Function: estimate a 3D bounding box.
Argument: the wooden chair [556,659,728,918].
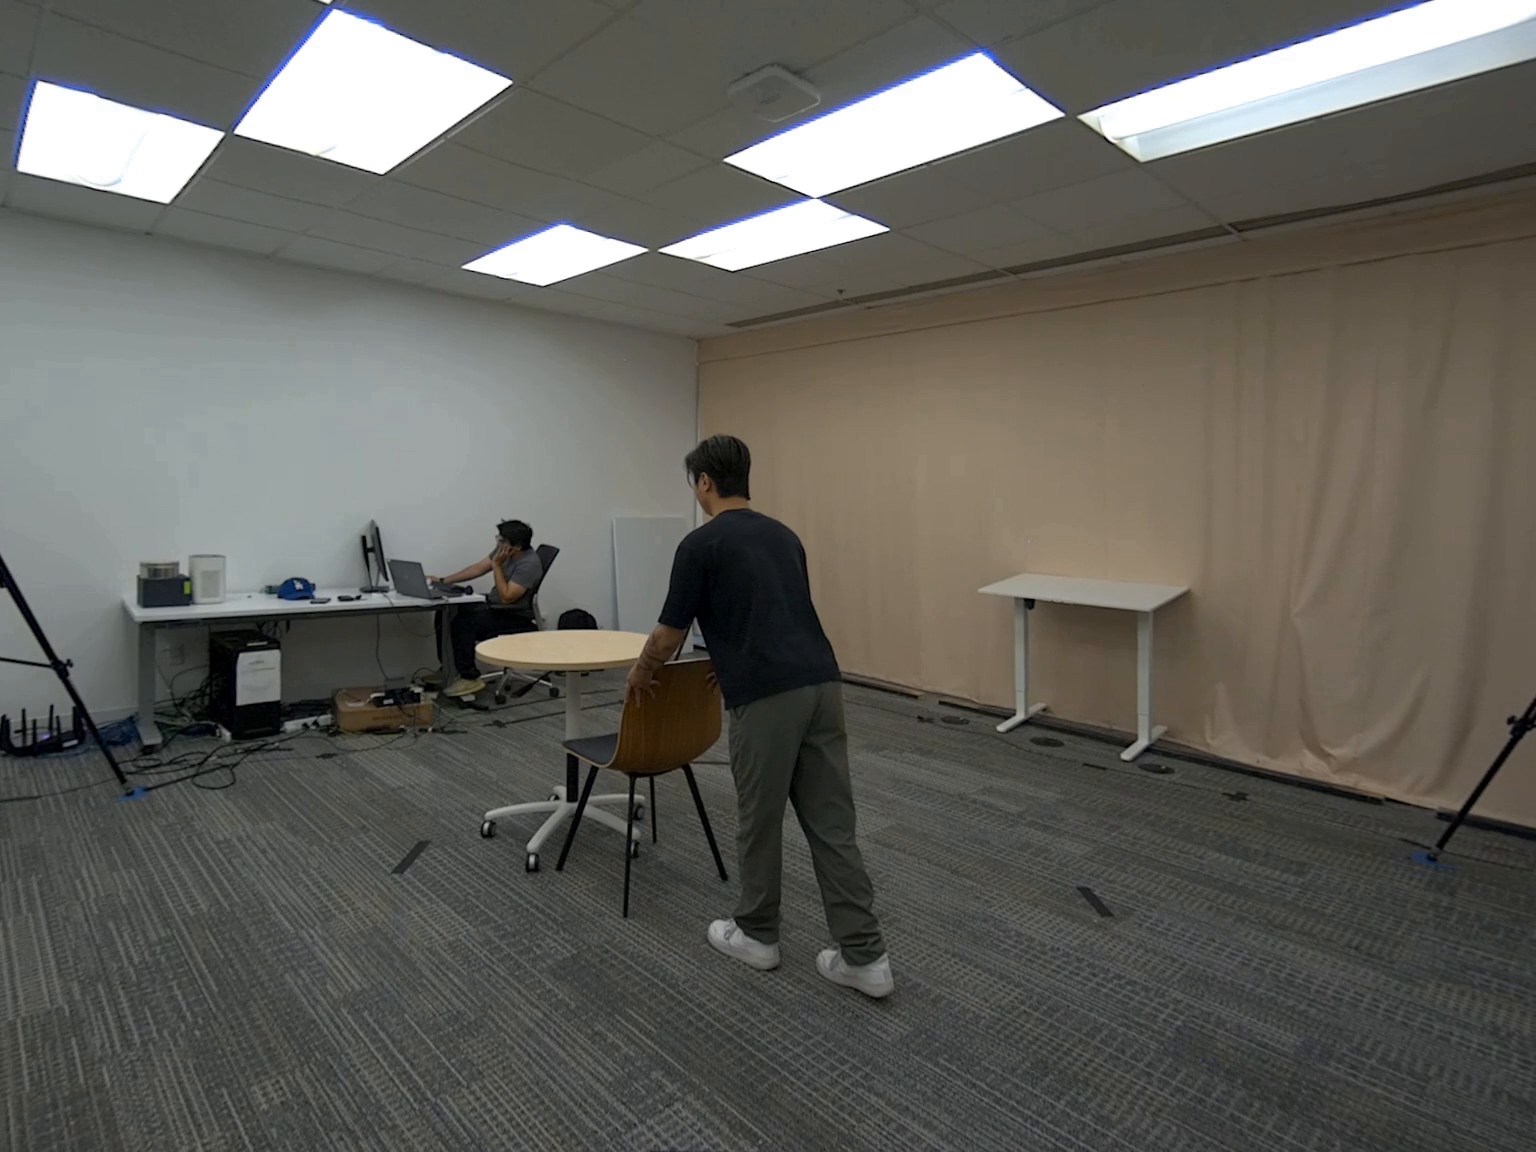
[{"bbox_3d":[-0.460,0.677,3.062,0.467,0.873,0.537,-1,8,-41],"label":"wooden chair"}]
